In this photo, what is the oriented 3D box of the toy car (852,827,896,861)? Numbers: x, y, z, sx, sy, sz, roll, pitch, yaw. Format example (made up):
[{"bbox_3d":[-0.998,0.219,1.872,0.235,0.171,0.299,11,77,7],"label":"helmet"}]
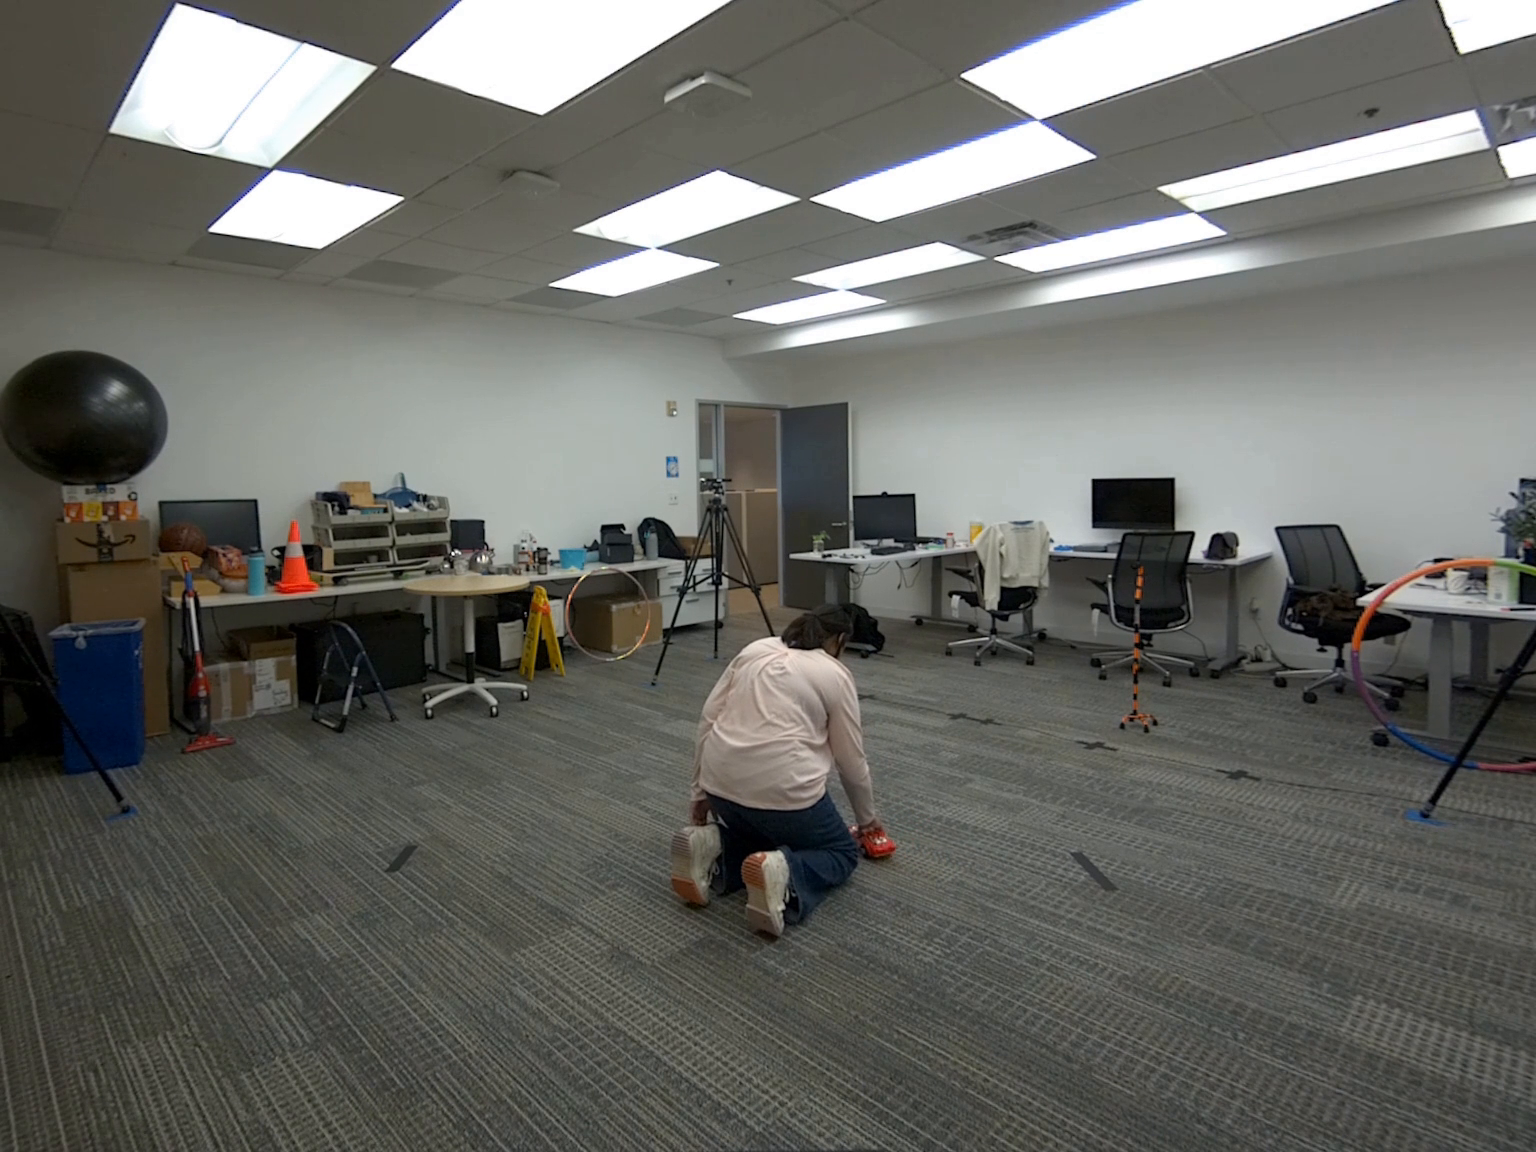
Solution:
[{"bbox_3d":[0.389,0.995,3.200,0.128,0.083,0.258,-3,-4,-21],"label":"toy car"}]
